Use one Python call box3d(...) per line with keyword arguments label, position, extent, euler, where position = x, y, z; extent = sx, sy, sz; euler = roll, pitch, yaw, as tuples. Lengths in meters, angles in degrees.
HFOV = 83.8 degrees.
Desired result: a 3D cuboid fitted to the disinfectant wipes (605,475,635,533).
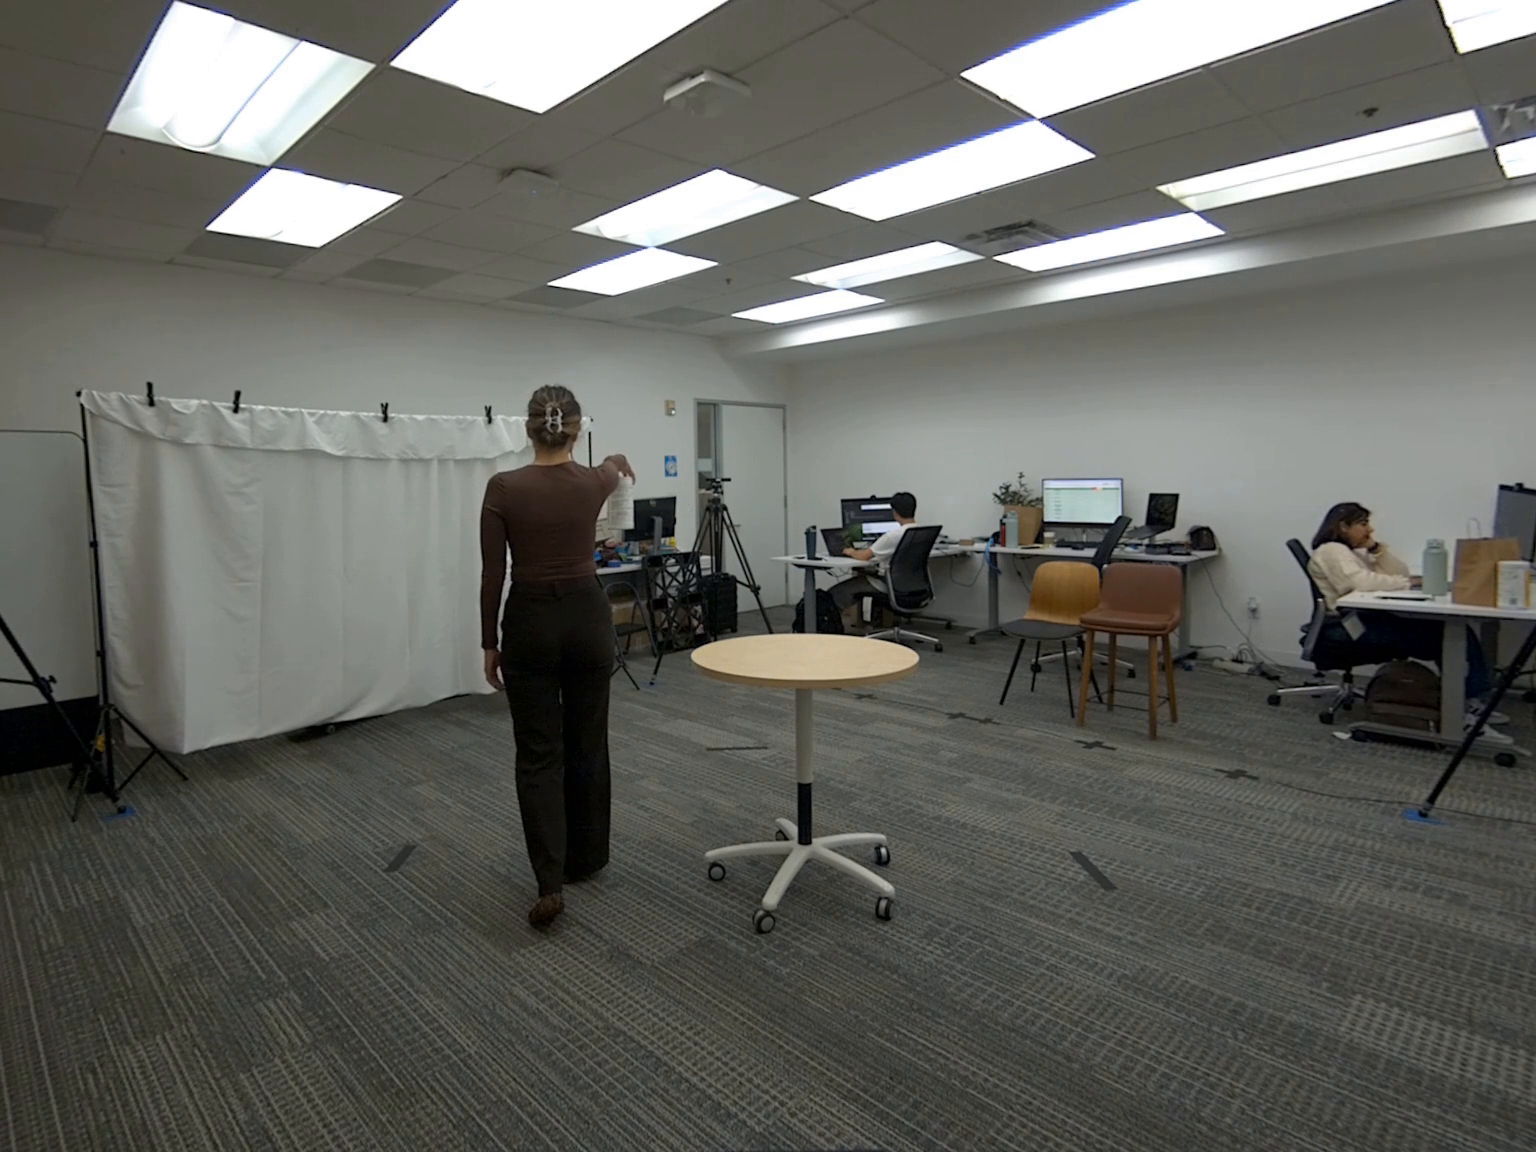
box3d(label="disinfectant wipes", position=(-0.601, -0.299, 3.505), extent=(0.118, 0.217, 0.118), euler=(2, 3, -2))
